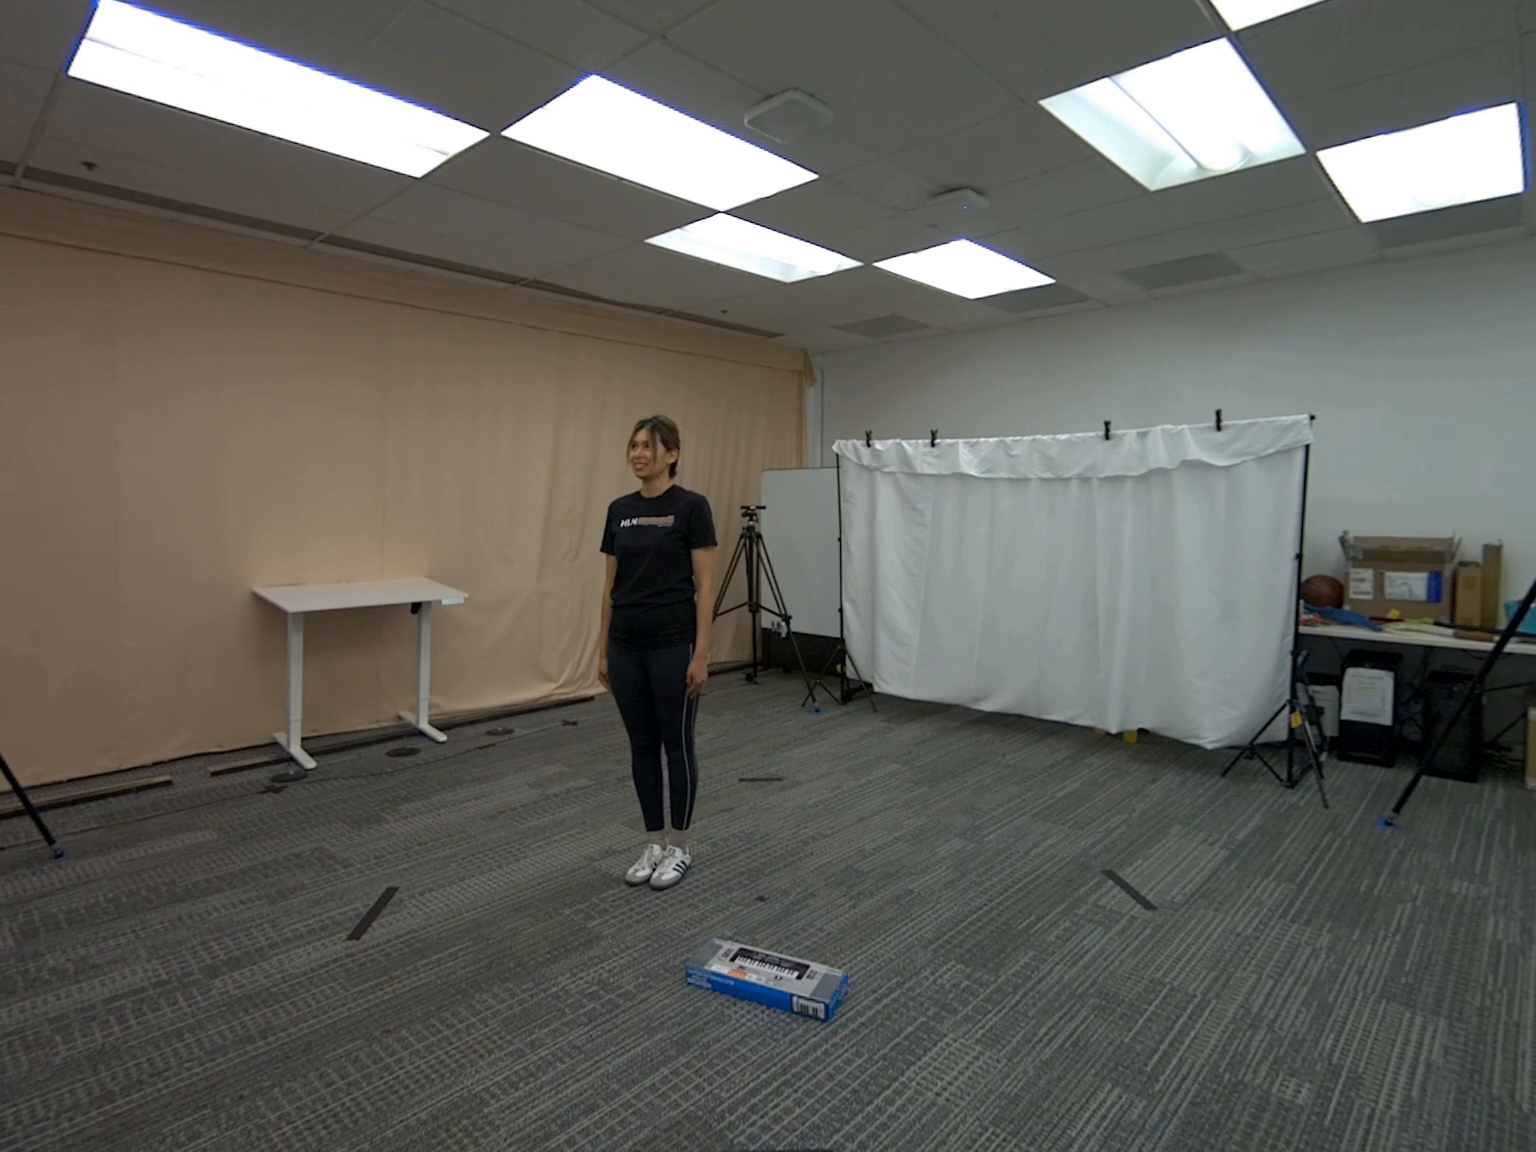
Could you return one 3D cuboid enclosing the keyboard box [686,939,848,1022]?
[{"bbox_3d":[-0.003,1.161,2.429,0.448,0.059,0.172,2,6,25],"label":"keyboard box"}]
